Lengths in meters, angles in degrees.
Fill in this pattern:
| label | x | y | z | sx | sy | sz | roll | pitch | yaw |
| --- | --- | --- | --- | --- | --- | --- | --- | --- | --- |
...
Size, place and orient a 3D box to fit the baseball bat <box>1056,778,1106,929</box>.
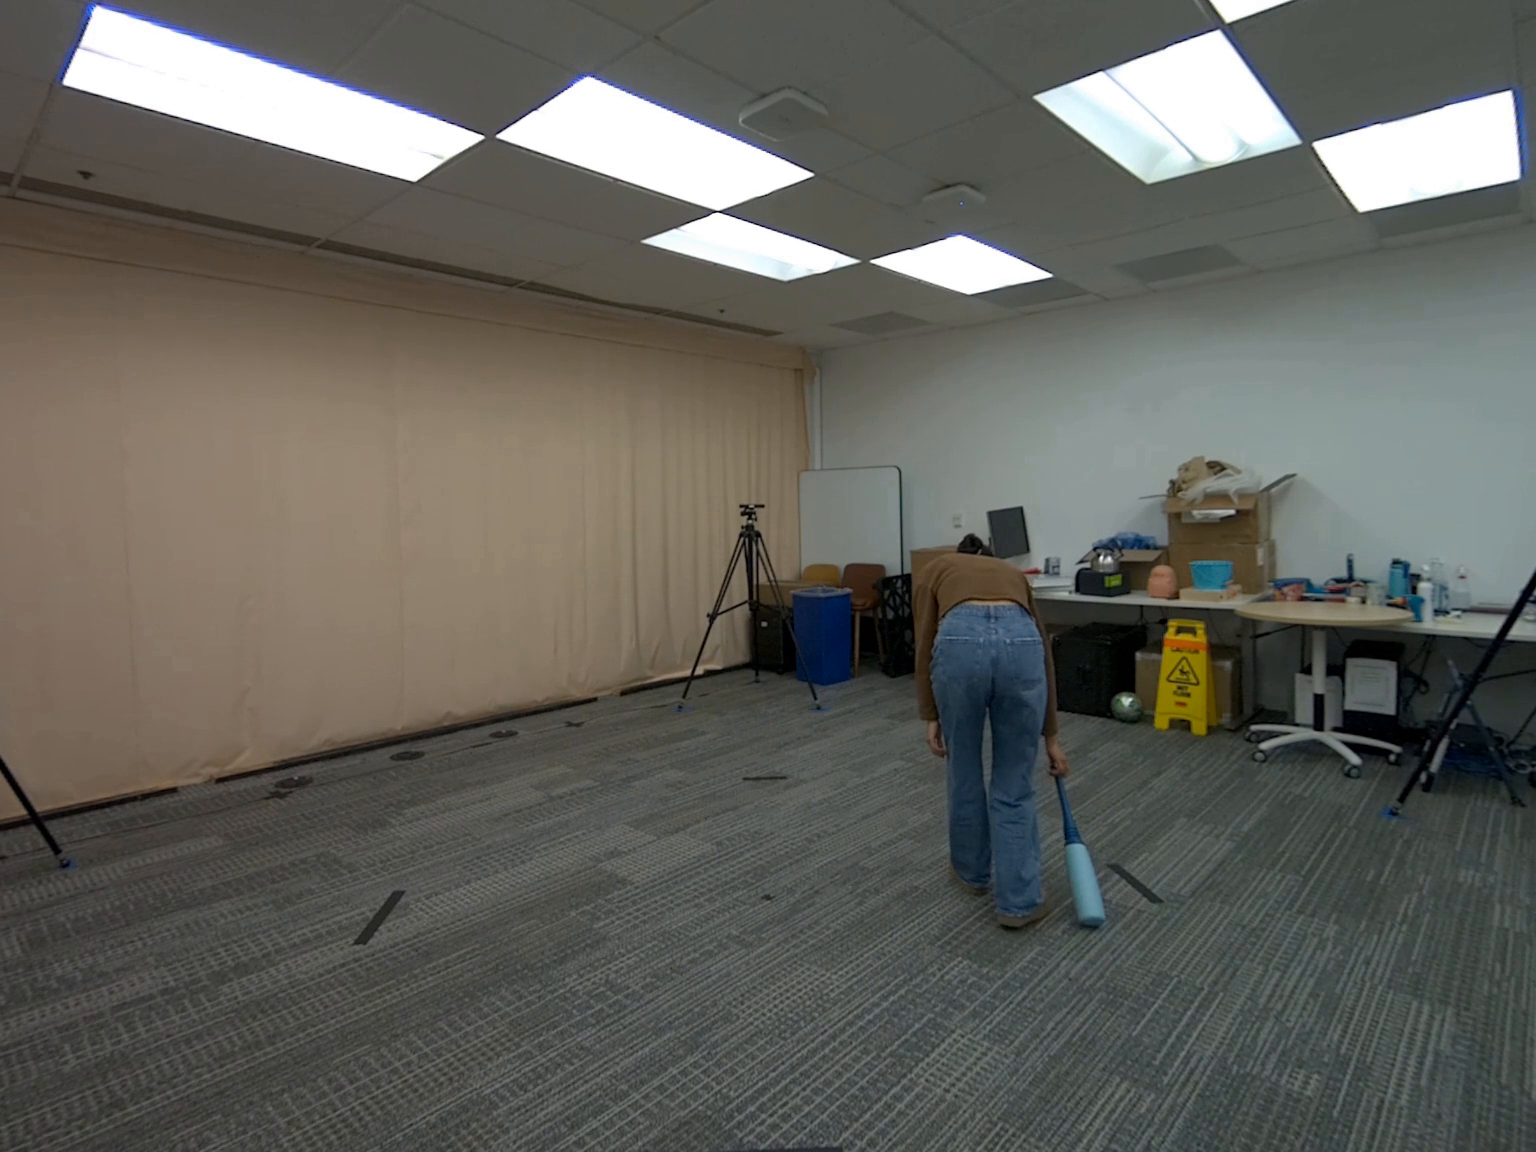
| label | x | y | z | sx | sy | sz | roll | pitch | yaw |
| --- | --- | --- | --- | --- | --- | --- | --- | --- | --- |
| baseball bat | 1.064 | 0.922 | 2.885 | 0.089 | 0.552 | 0.087 | 2 | -41 | 0 |
